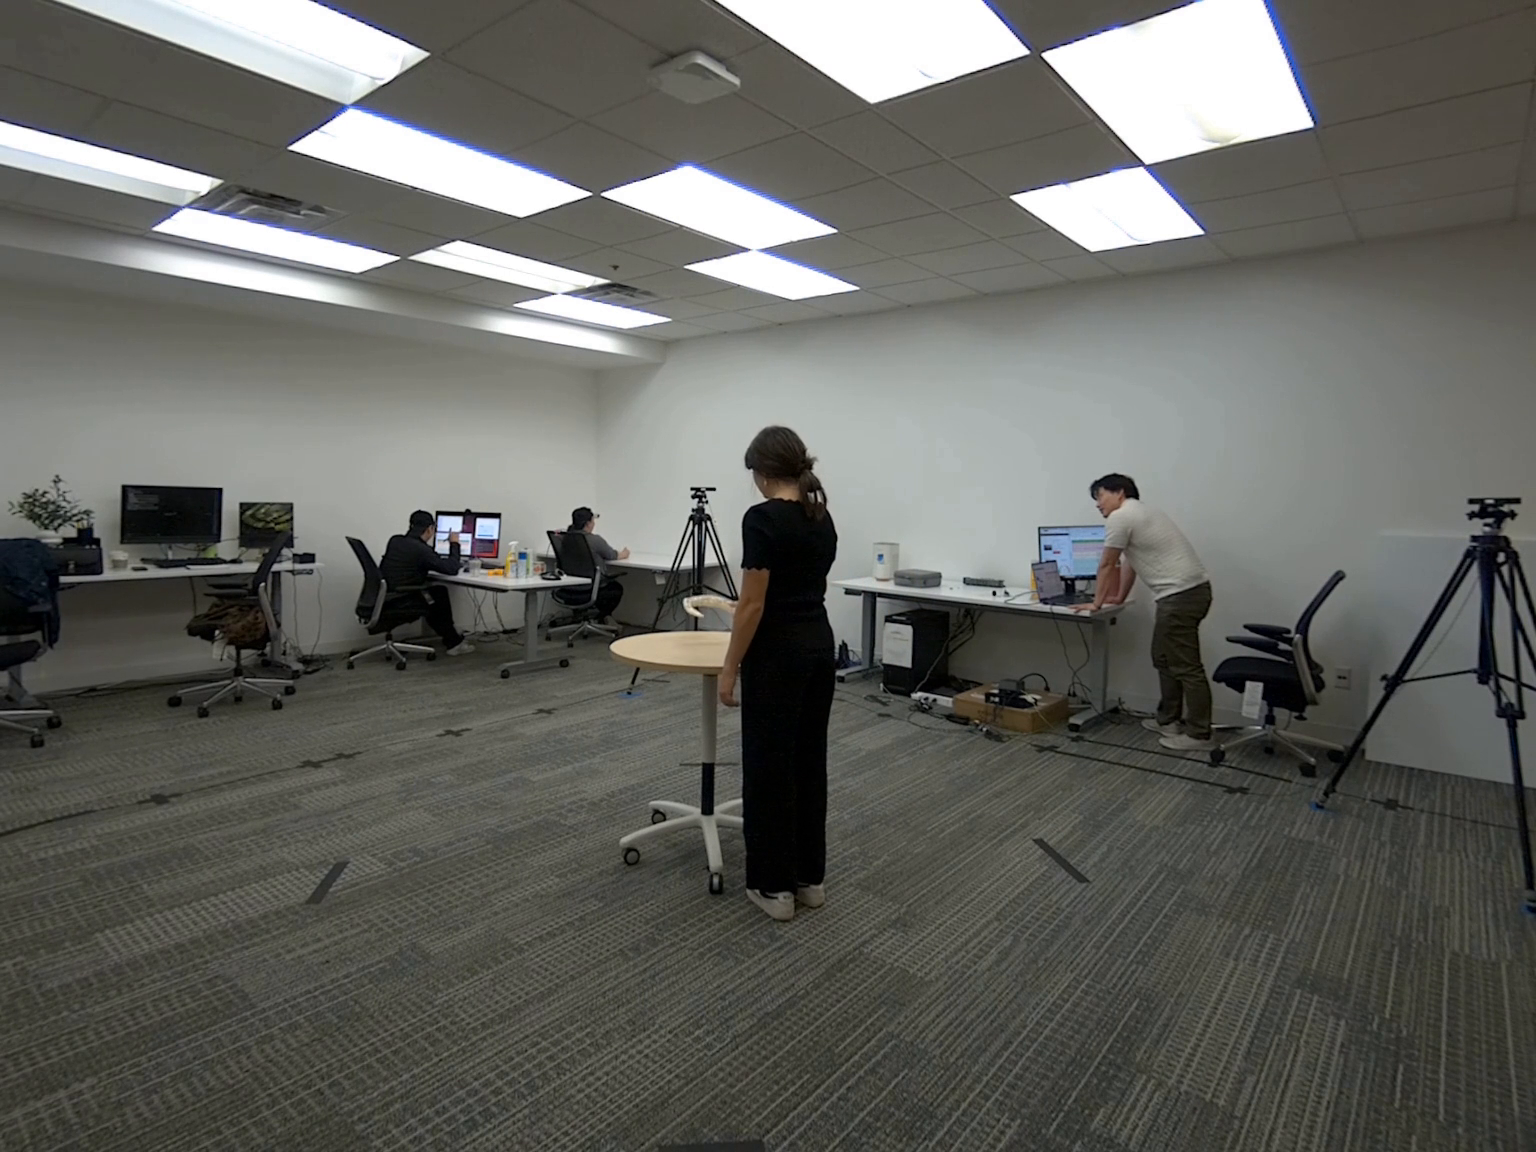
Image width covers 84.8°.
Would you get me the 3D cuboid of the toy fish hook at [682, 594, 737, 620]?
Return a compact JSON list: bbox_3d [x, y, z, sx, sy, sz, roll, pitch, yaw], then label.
[{"bbox_3d":[-0.154,0.156,3.190,0.219,0.047,0.527,-9,20,-35],"label":"toy fish hook"}]
